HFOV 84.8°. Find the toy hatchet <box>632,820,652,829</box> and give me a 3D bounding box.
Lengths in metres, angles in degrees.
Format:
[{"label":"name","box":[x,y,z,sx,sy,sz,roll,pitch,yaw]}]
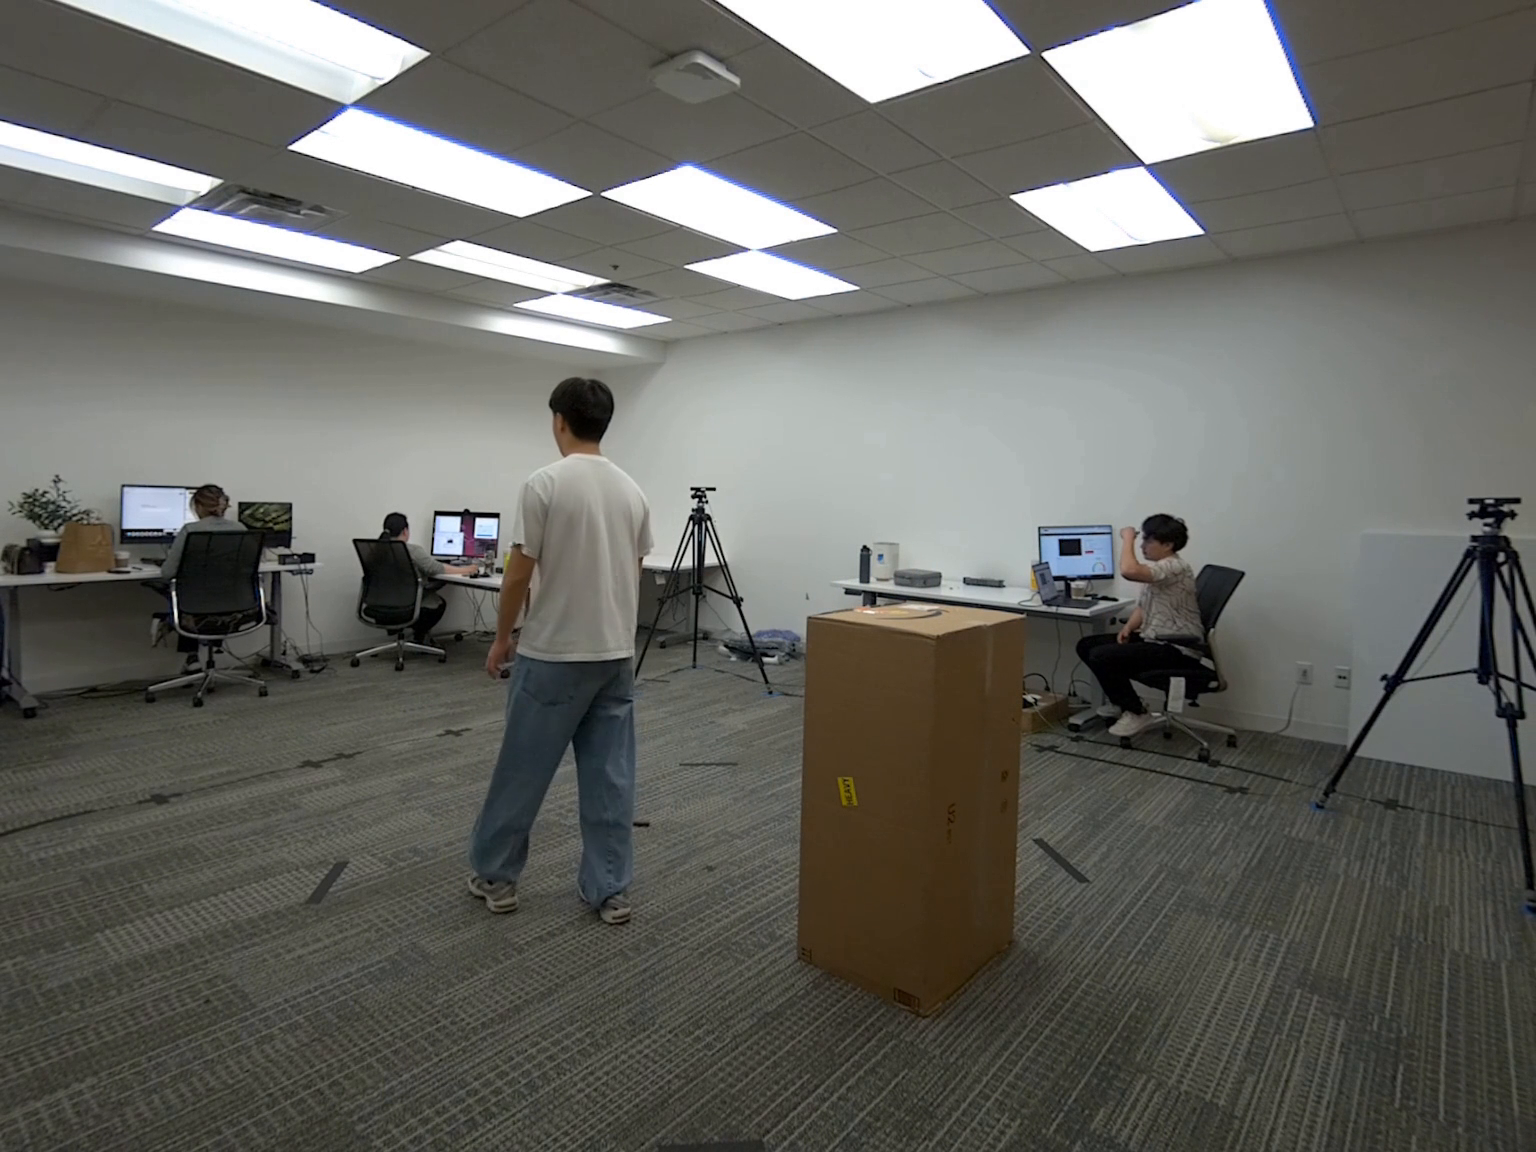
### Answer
[{"label":"toy hatchet","box":[-0.627,0.998,3.546,0.271,0.029,0.131,3,3,3]}]
